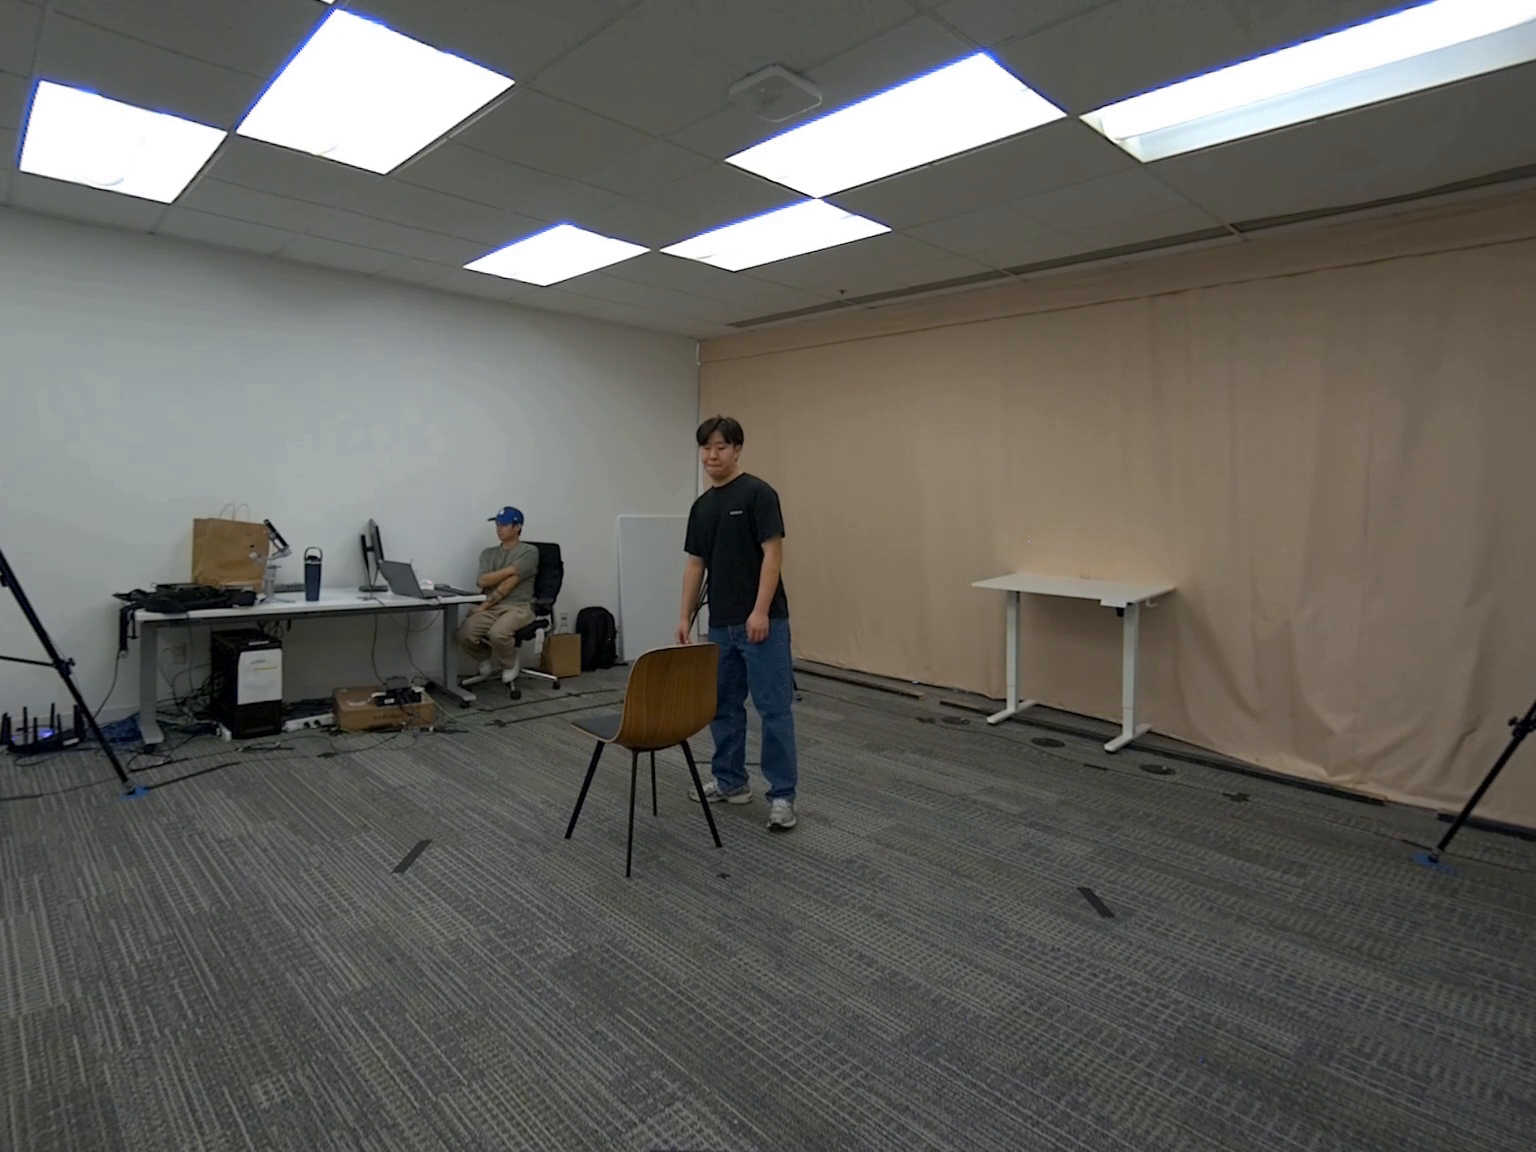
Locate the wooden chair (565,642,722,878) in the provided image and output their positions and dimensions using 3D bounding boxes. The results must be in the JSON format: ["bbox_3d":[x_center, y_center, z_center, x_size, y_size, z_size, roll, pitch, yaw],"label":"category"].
[{"bbox_3d":[-0.502,0.647,3.357,0.467,0.873,0.537,-2,9,-43],"label":"wooden chair"}]
